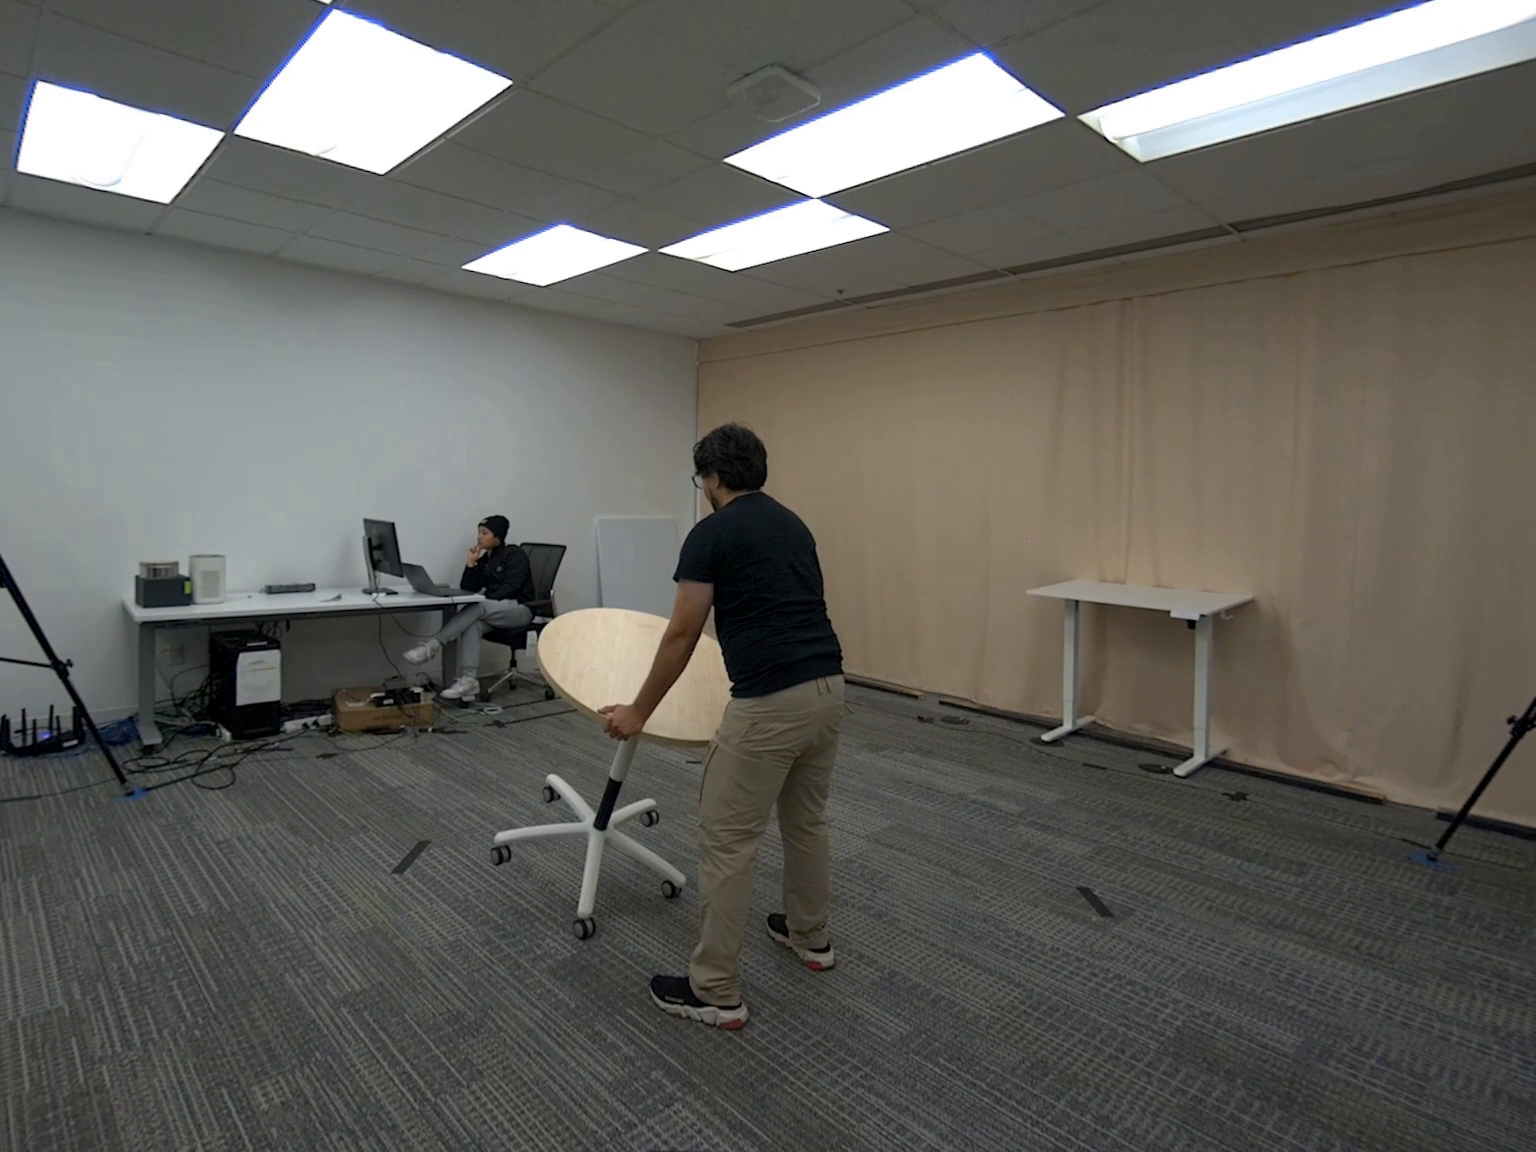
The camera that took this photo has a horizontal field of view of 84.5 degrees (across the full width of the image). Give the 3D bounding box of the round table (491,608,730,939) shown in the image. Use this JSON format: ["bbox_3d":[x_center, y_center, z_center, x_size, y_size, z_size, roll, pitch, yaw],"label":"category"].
[{"bbox_3d":[-0.500,0.654,2.854,0.780,0.780,0.796,17,19,-7],"label":"round table"}]
